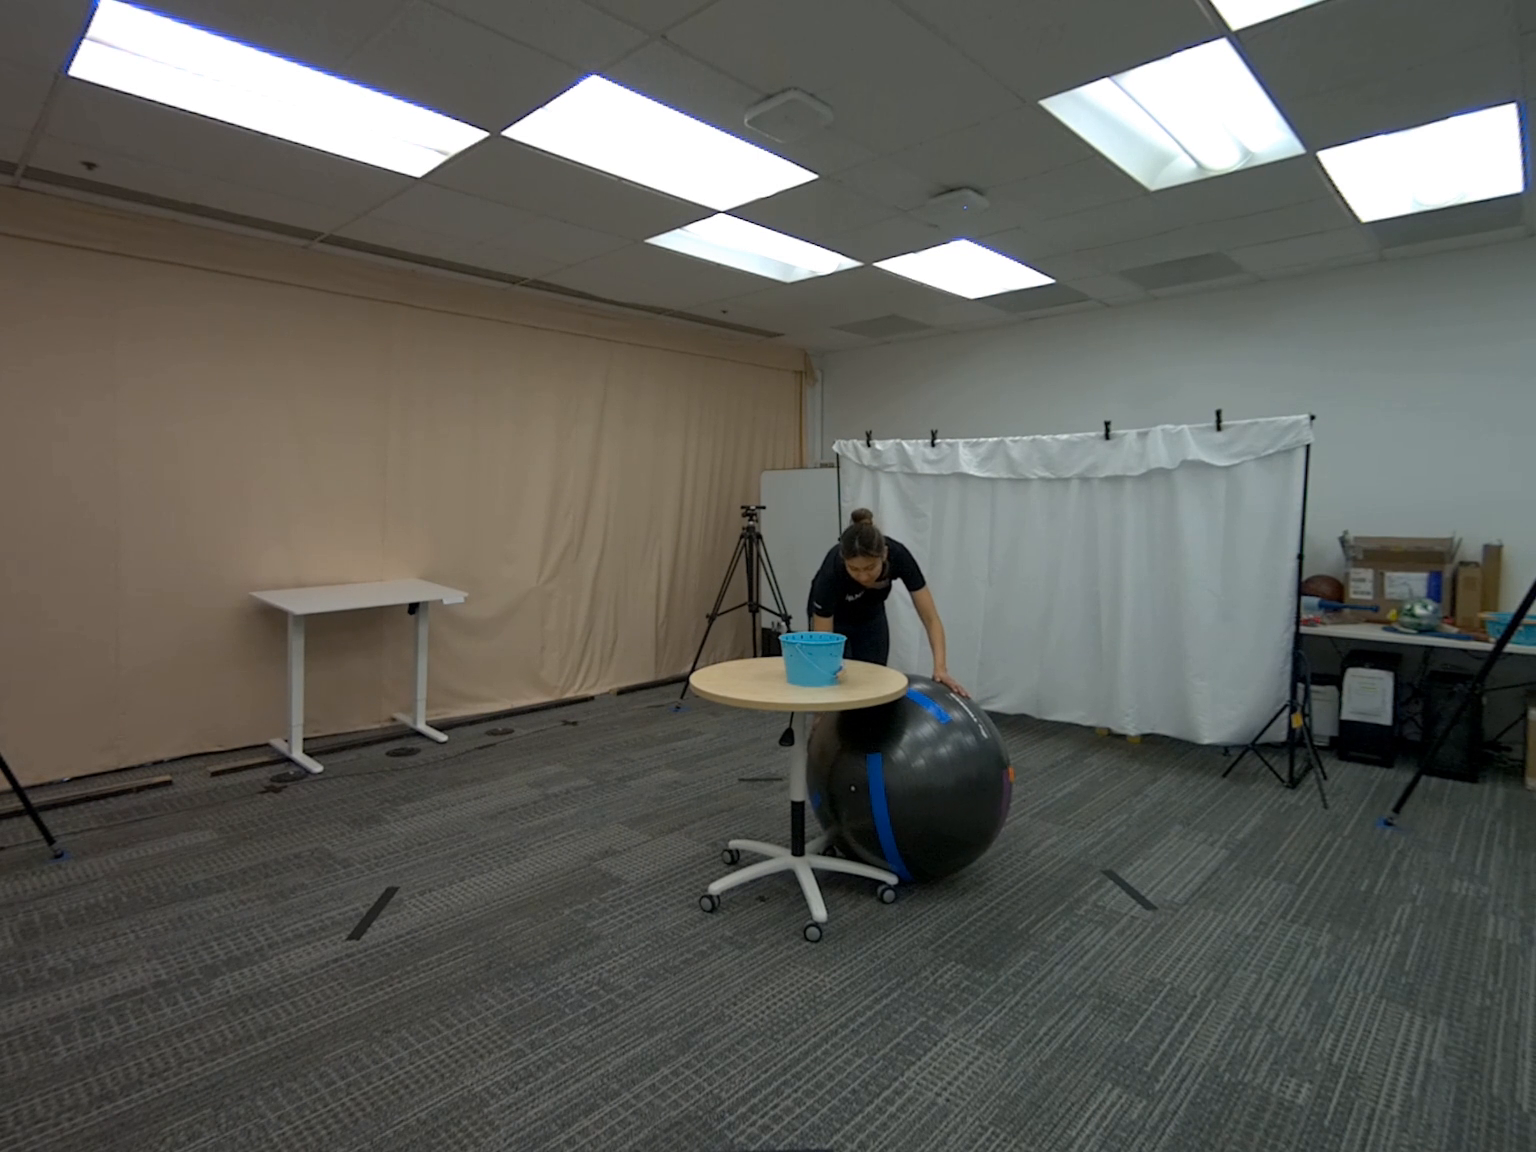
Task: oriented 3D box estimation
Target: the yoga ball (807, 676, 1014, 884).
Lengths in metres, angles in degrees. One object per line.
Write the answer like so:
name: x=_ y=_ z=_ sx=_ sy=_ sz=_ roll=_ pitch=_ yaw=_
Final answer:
yoga ball: x=0.541 y=0.763 z=3.195 sx=0.757 sy=0.756 sz=0.761 roll=0 pitch=4 yaw=-2
